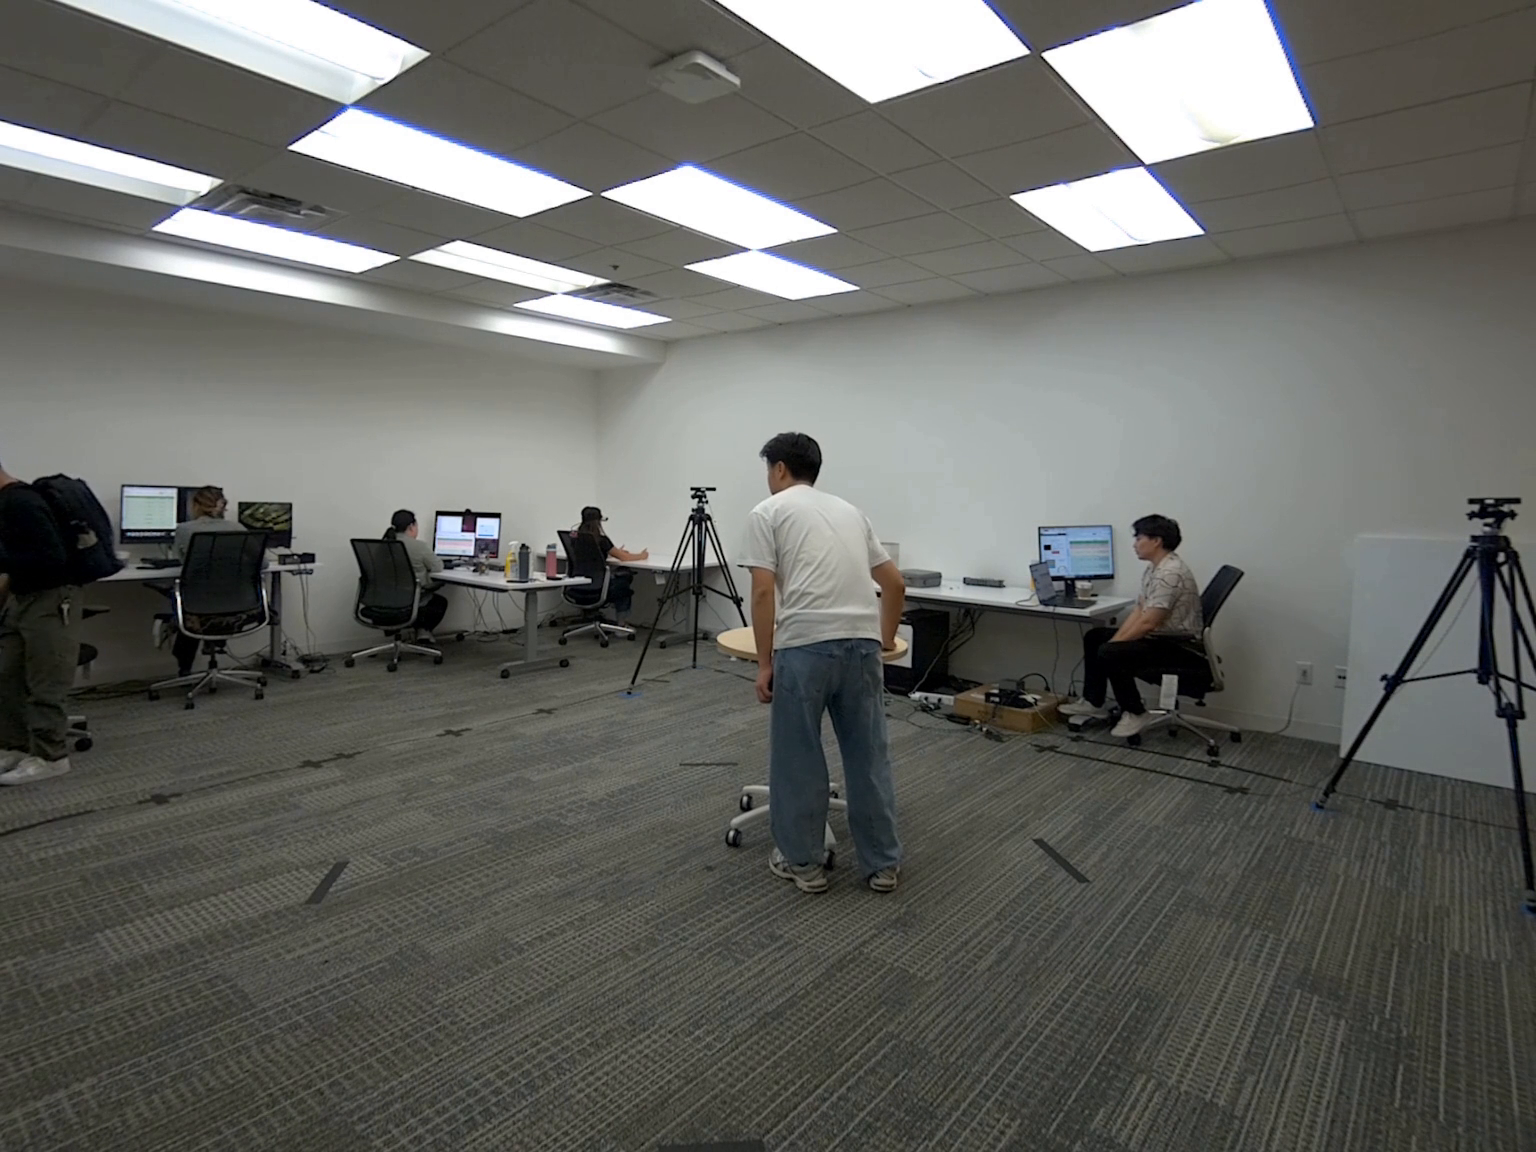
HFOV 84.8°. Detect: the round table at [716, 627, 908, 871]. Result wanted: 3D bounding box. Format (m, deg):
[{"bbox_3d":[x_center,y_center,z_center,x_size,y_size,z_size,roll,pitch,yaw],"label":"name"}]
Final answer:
[{"bbox_3d":[0.149,0.646,3.466,0.763,0.791,0.768,1,4,-2],"label":"round table"}]
